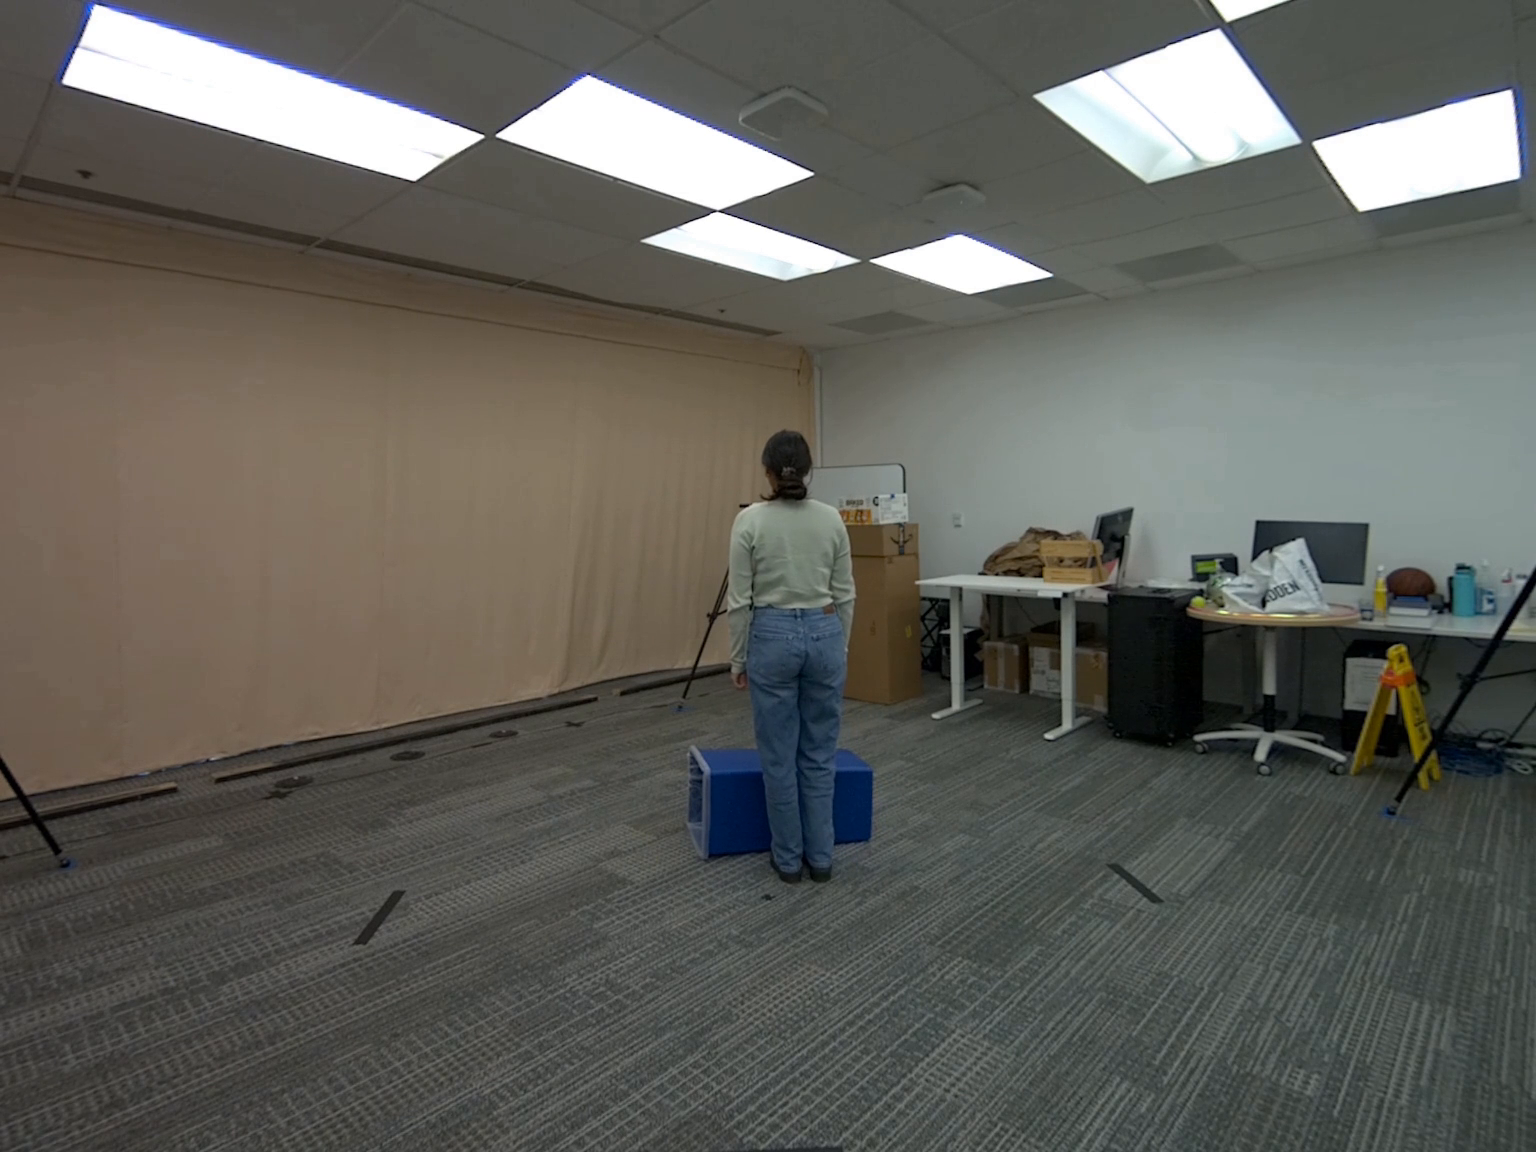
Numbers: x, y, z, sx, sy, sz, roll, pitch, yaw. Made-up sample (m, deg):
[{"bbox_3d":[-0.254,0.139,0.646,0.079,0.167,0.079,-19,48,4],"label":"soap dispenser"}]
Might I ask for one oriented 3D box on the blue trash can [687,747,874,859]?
[{"bbox_3d":[0.044,0.916,3.518,0.705,0.377,0.379,0,4,-12],"label":"blue trash can"}]
